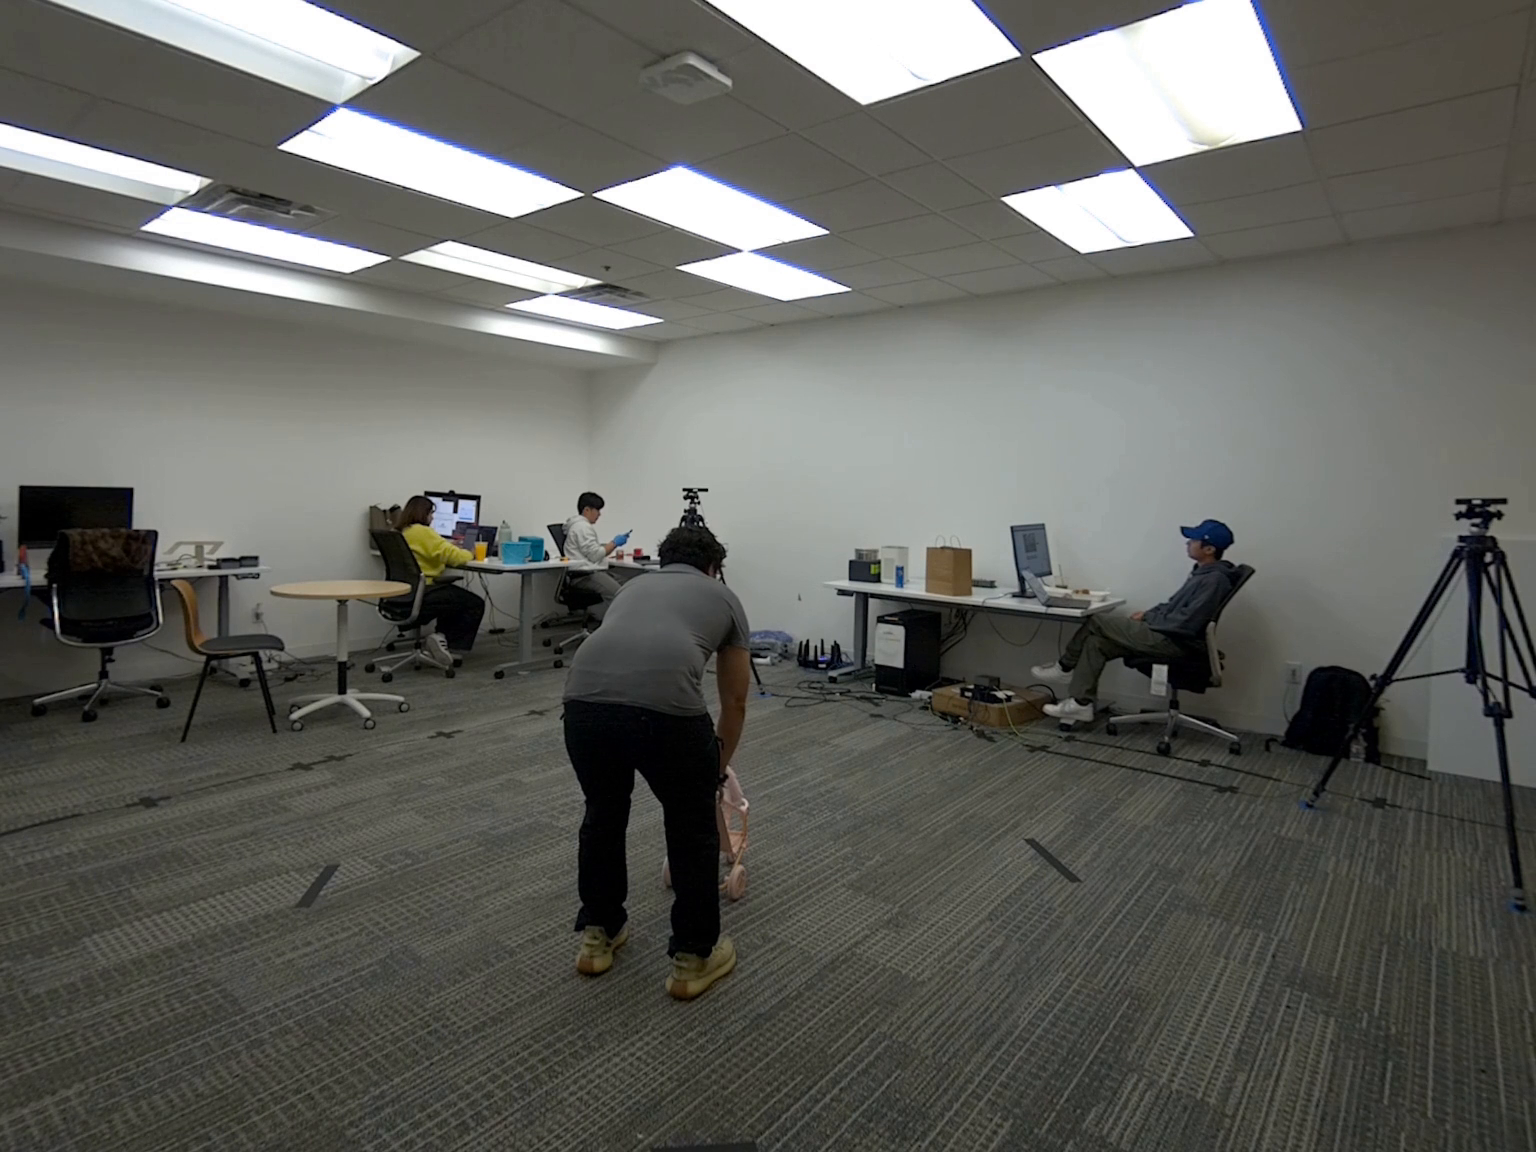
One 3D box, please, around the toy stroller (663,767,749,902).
[{"bbox_3d":[-0.201,0.859,2.985,0.289,0.525,0.339,4,21,24],"label":"toy stroller"}]
